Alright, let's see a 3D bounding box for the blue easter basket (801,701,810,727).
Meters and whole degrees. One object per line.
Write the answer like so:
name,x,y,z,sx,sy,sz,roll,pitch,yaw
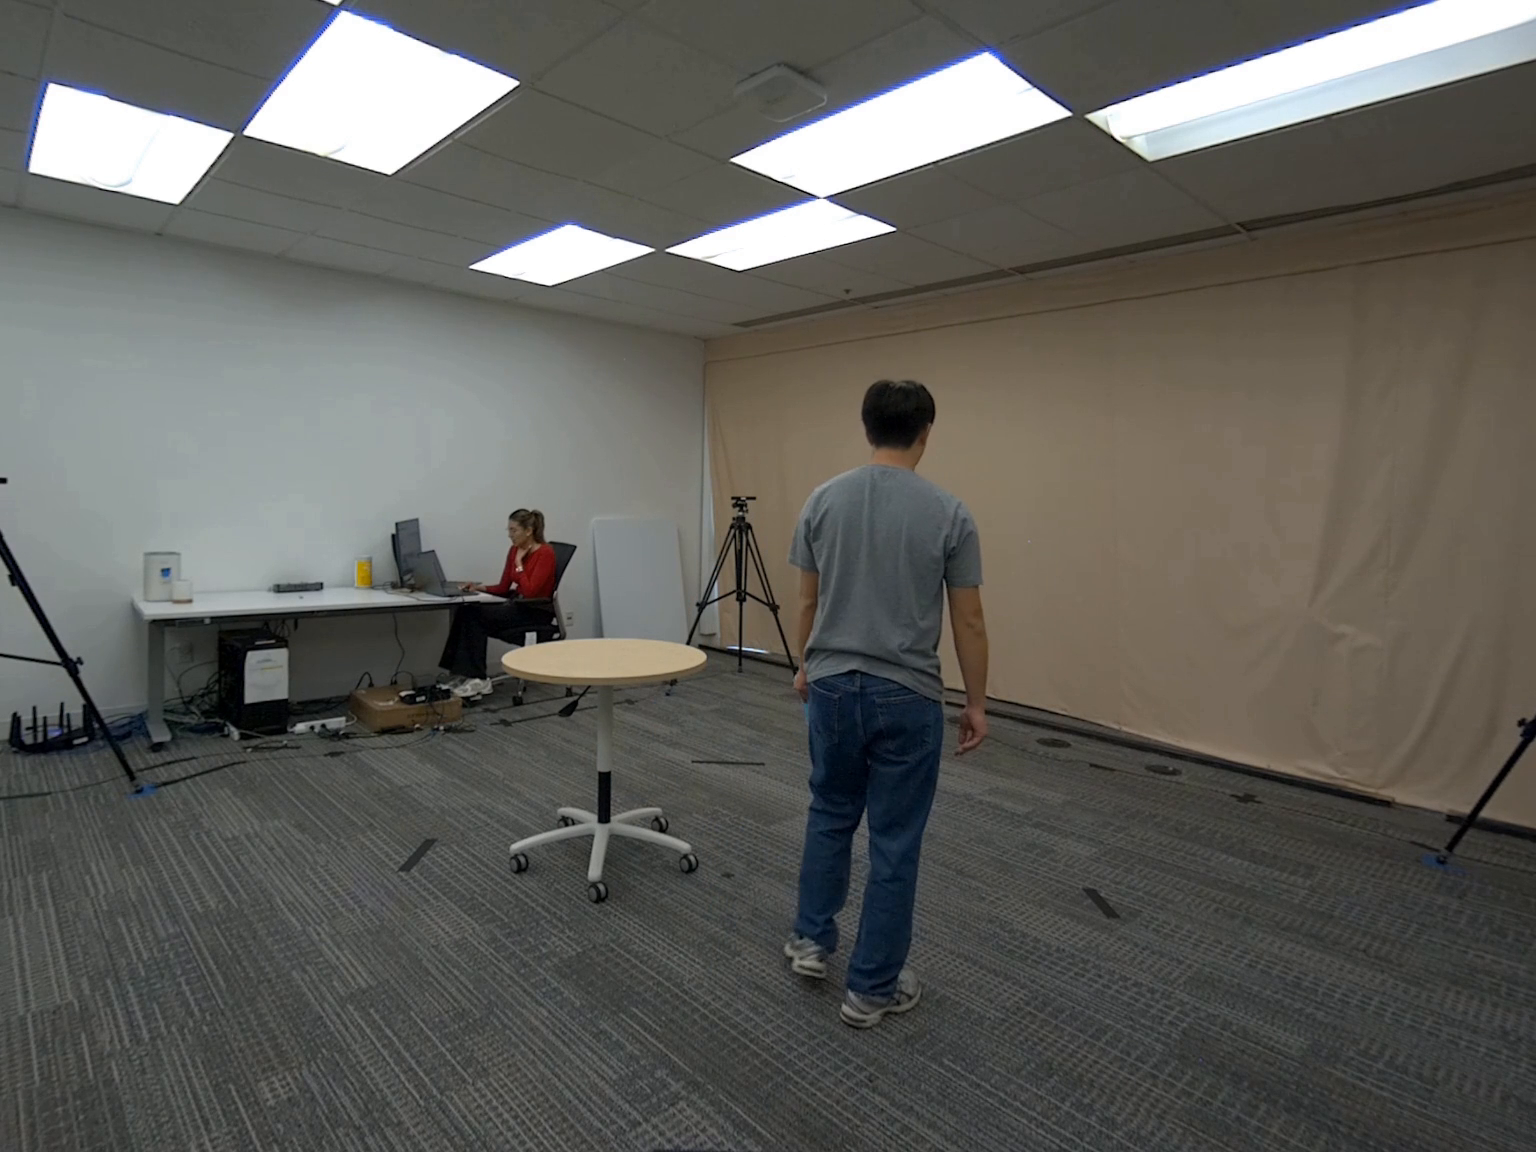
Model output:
blue easter basket,0.211,0.412,2.725,0.243,0.155,0.245,-4,8,-1
